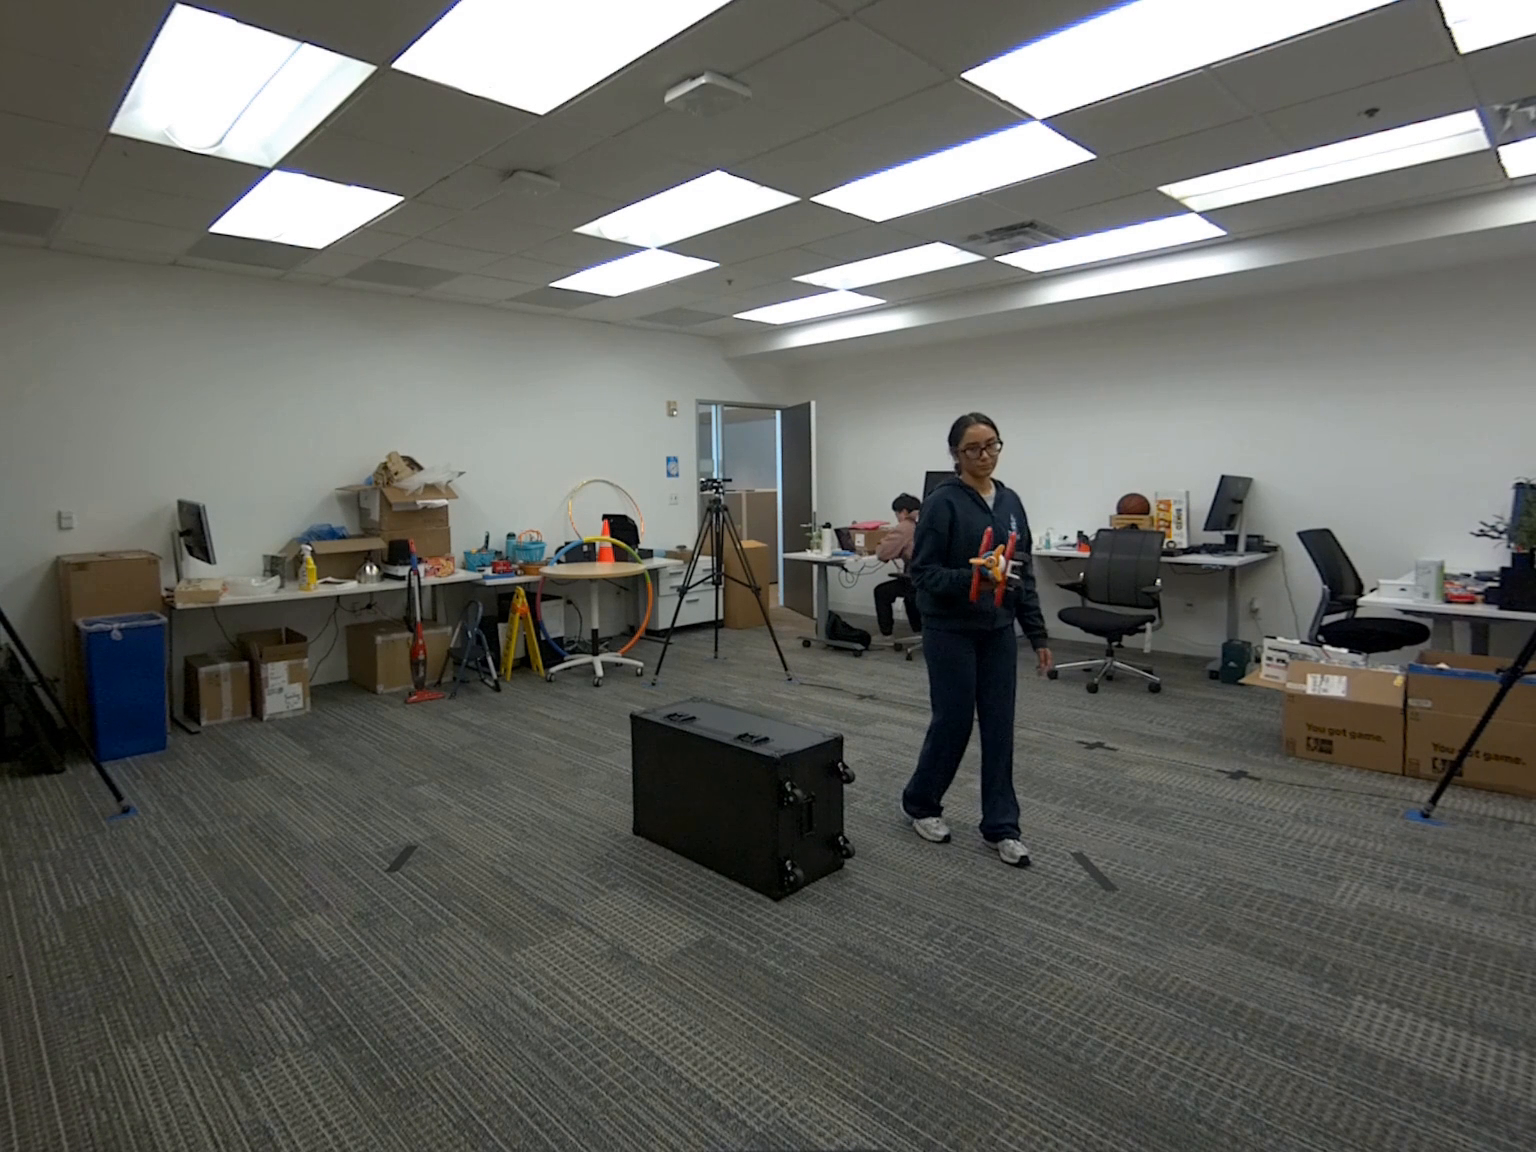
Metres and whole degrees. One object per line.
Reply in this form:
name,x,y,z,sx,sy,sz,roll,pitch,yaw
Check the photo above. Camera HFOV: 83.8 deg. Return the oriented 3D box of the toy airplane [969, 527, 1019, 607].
toy airplane,0.765,-0.001,2.843,0.158,0.254,0.252,14,-37,10
